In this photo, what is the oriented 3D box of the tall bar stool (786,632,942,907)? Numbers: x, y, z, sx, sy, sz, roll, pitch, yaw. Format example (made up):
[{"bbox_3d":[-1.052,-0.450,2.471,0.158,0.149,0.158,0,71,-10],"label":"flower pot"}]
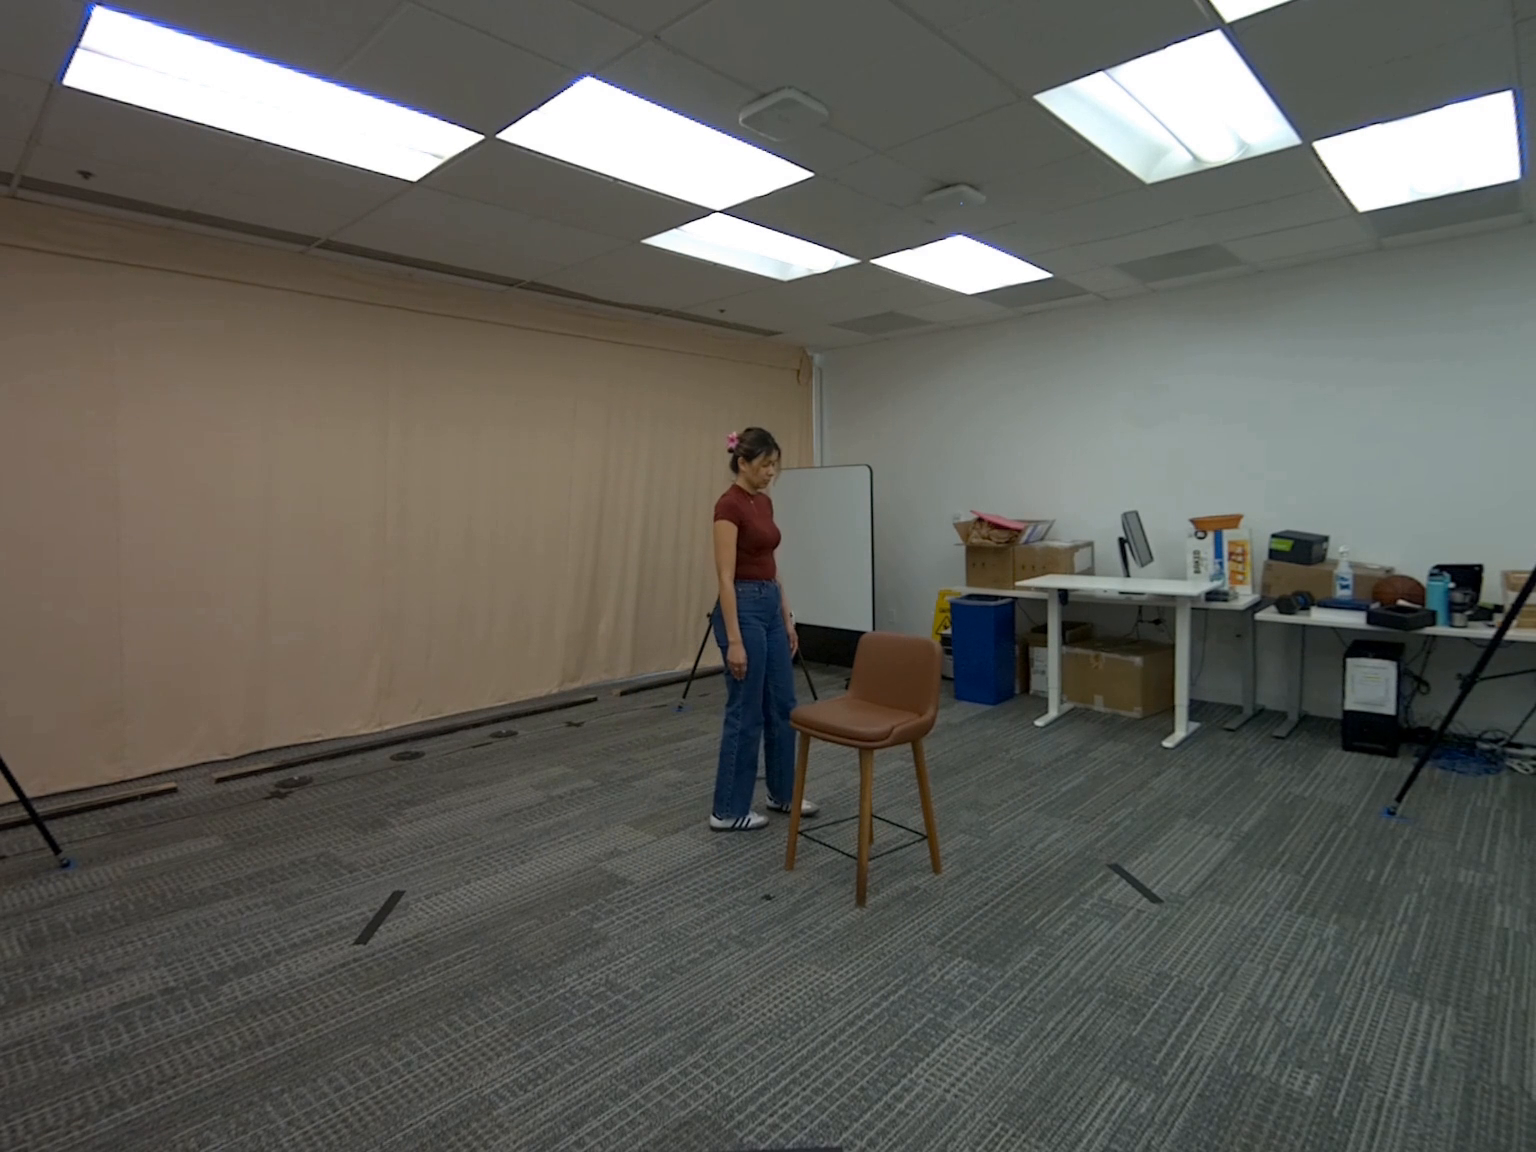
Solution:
[{"bbox_3d":[0.368,0.681,3.162,0.453,0.888,0.471,-1,3,-38],"label":"tall bar stool"}]
